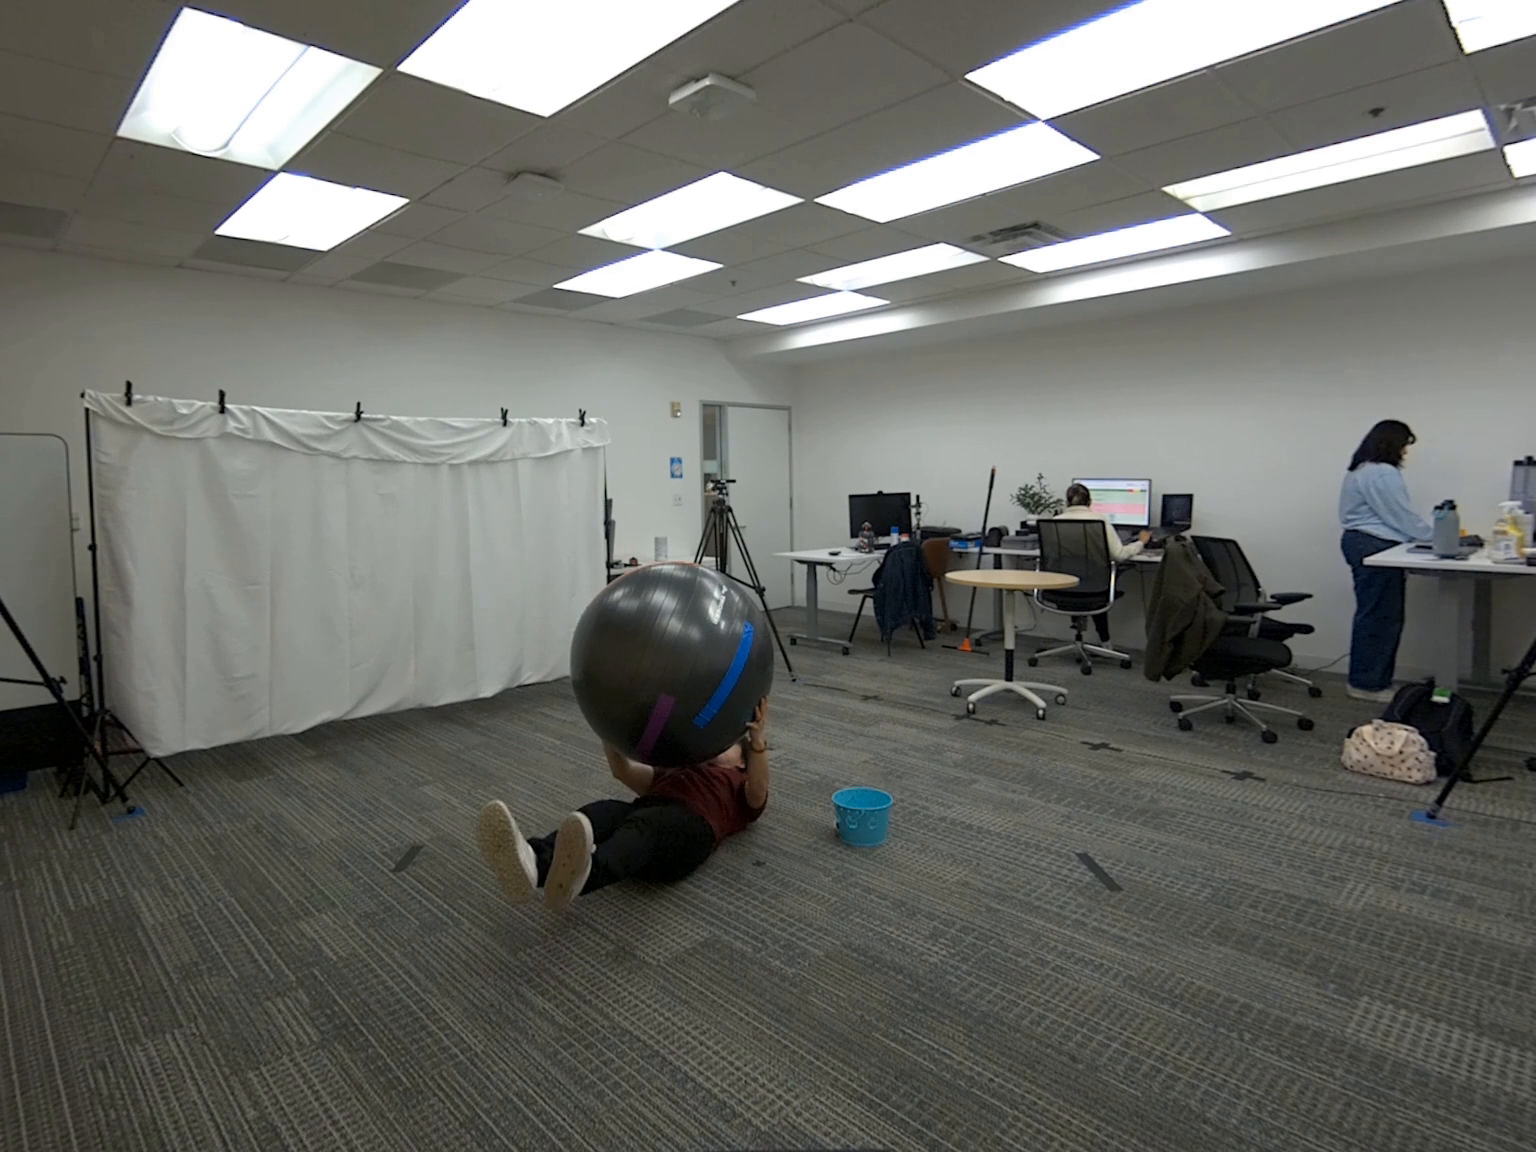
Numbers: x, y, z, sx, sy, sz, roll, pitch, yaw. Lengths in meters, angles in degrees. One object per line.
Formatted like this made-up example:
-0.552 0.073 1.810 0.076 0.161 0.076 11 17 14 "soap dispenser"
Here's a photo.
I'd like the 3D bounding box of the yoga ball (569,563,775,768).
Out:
-0.361 0.329 3.201 0.757 0.755 0.762 -1 5 -2 "yoga ball"
